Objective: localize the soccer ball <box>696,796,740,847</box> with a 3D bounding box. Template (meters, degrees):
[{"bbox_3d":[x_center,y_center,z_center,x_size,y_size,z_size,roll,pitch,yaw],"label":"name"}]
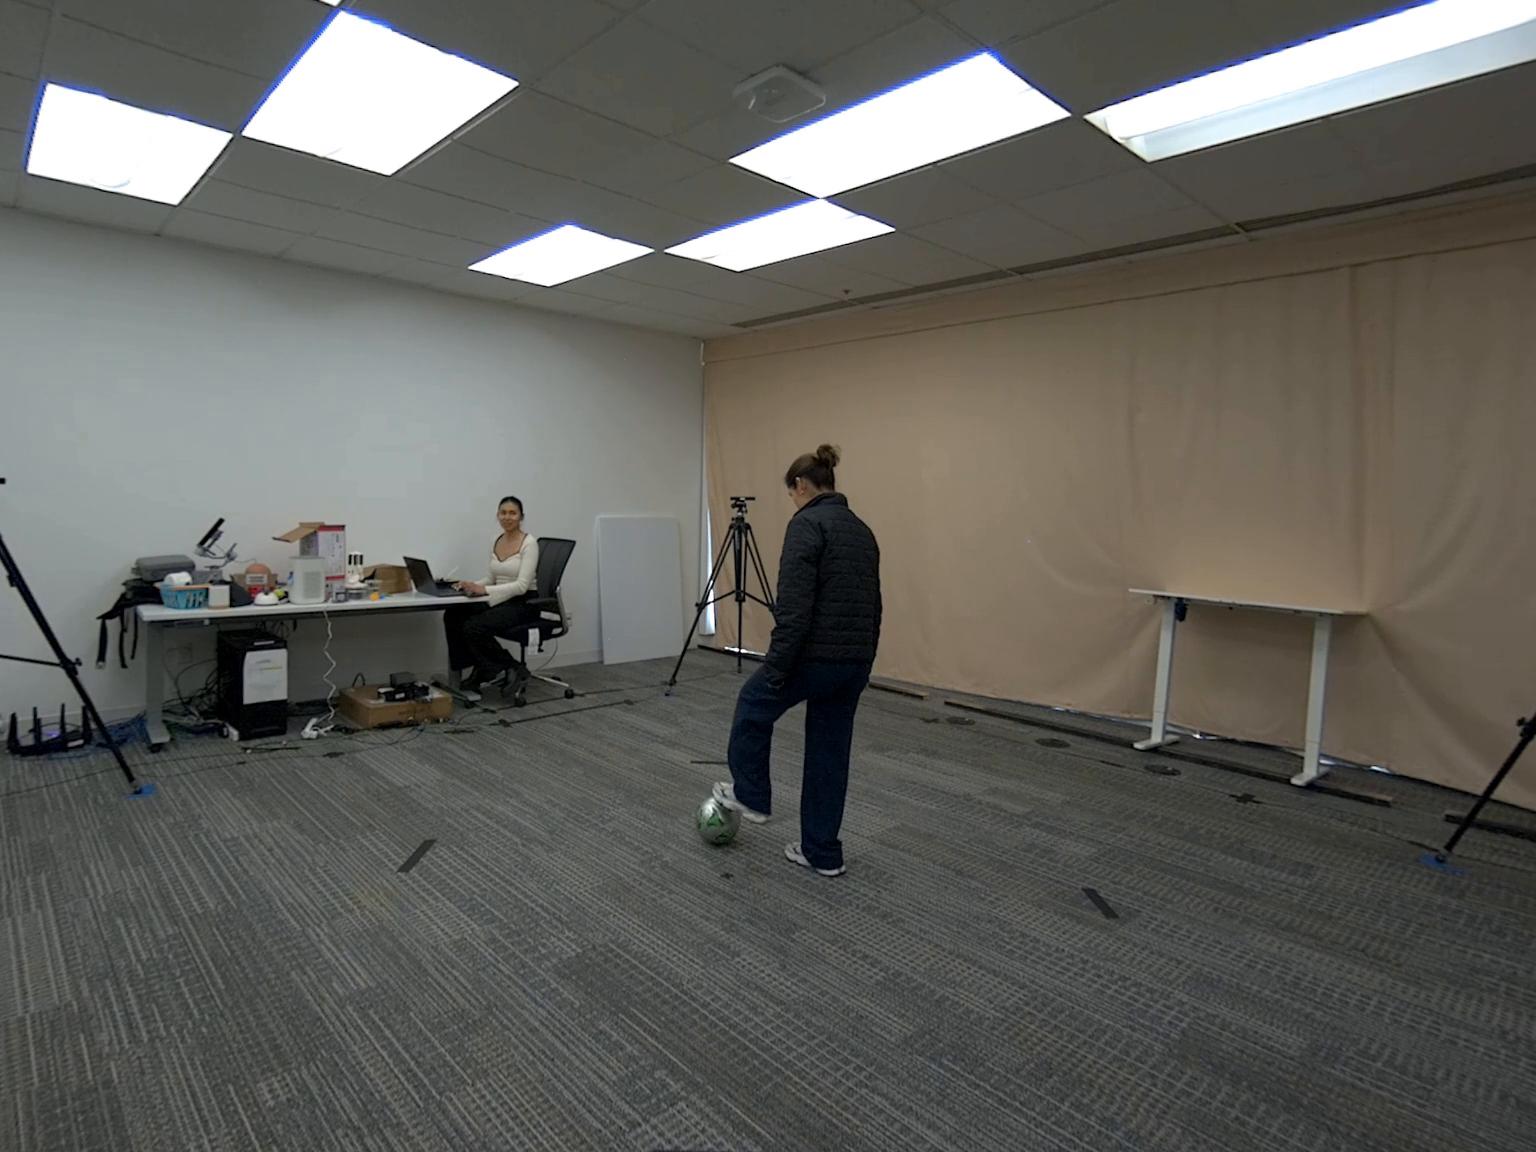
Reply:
[{"bbox_3d":[-0.207,0.982,3.397,0.187,0.187,0.188,1,4,-1],"label":"soccer ball"}]
